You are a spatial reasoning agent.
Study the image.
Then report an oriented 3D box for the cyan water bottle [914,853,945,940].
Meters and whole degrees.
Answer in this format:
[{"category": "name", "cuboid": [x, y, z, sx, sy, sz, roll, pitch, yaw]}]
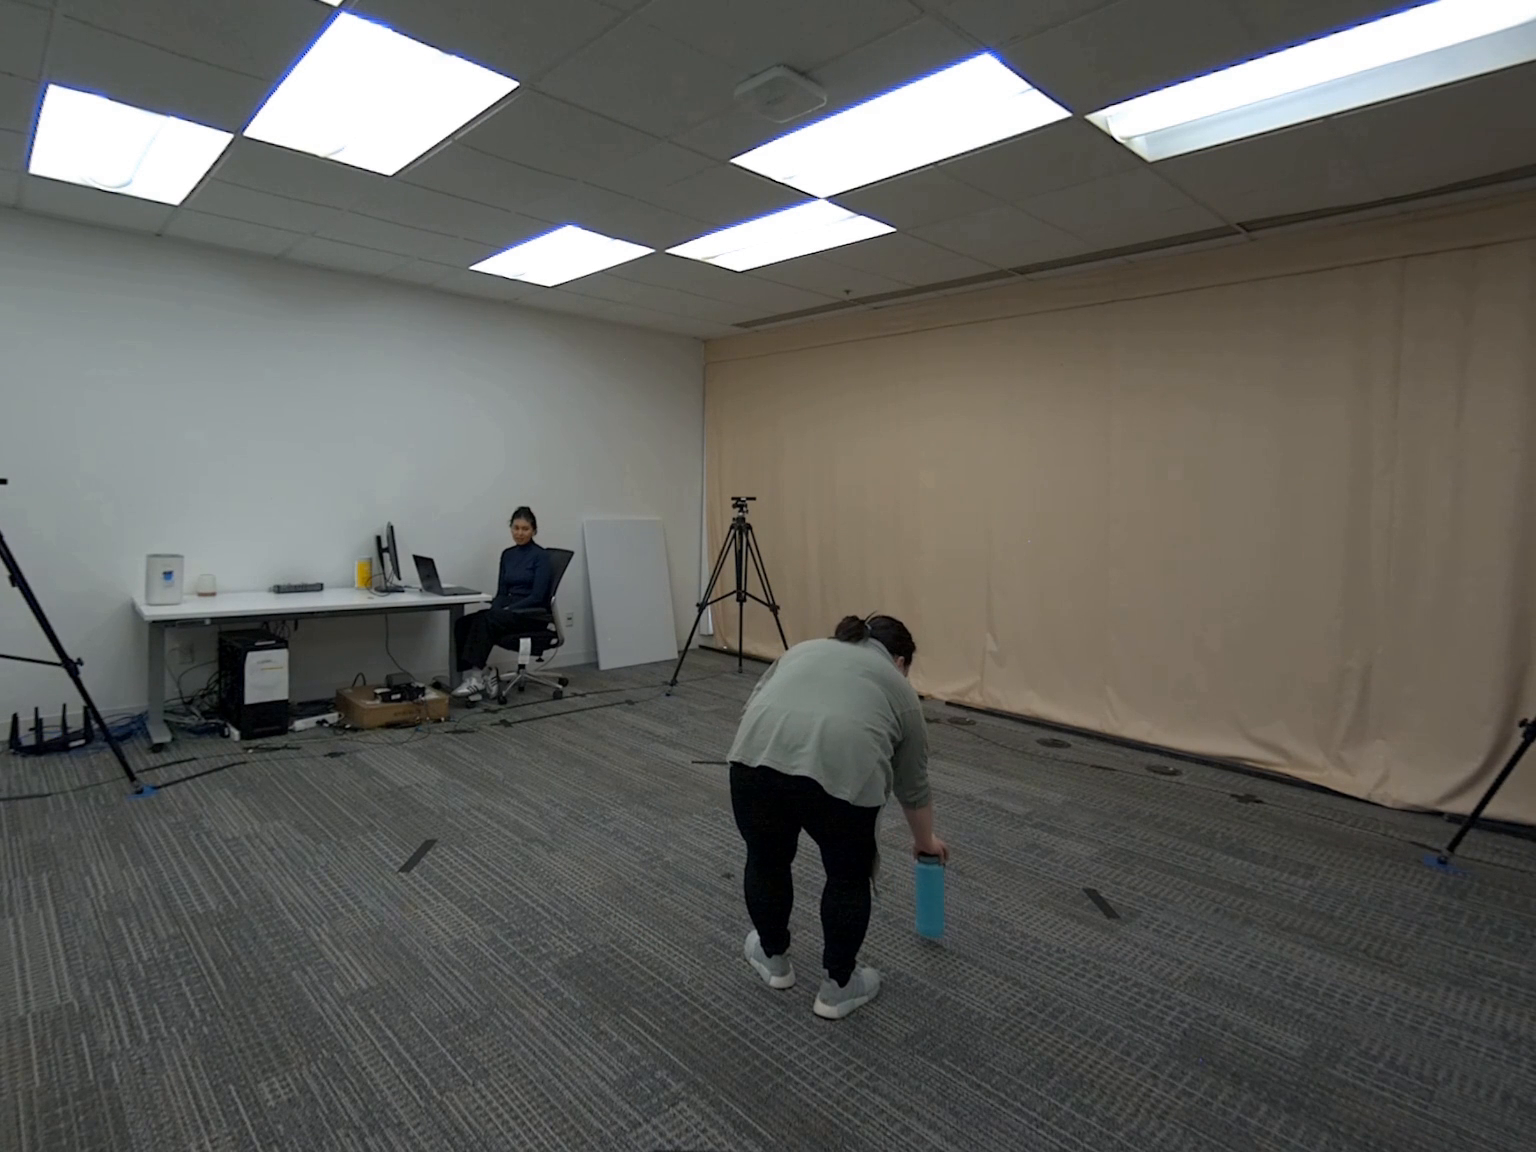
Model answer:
[{"category": "cyan water bottle", "cuboid": [0.504, 0.981, 2.645, 0.092, 0.283, 0.092, -1, 2, -1]}]
